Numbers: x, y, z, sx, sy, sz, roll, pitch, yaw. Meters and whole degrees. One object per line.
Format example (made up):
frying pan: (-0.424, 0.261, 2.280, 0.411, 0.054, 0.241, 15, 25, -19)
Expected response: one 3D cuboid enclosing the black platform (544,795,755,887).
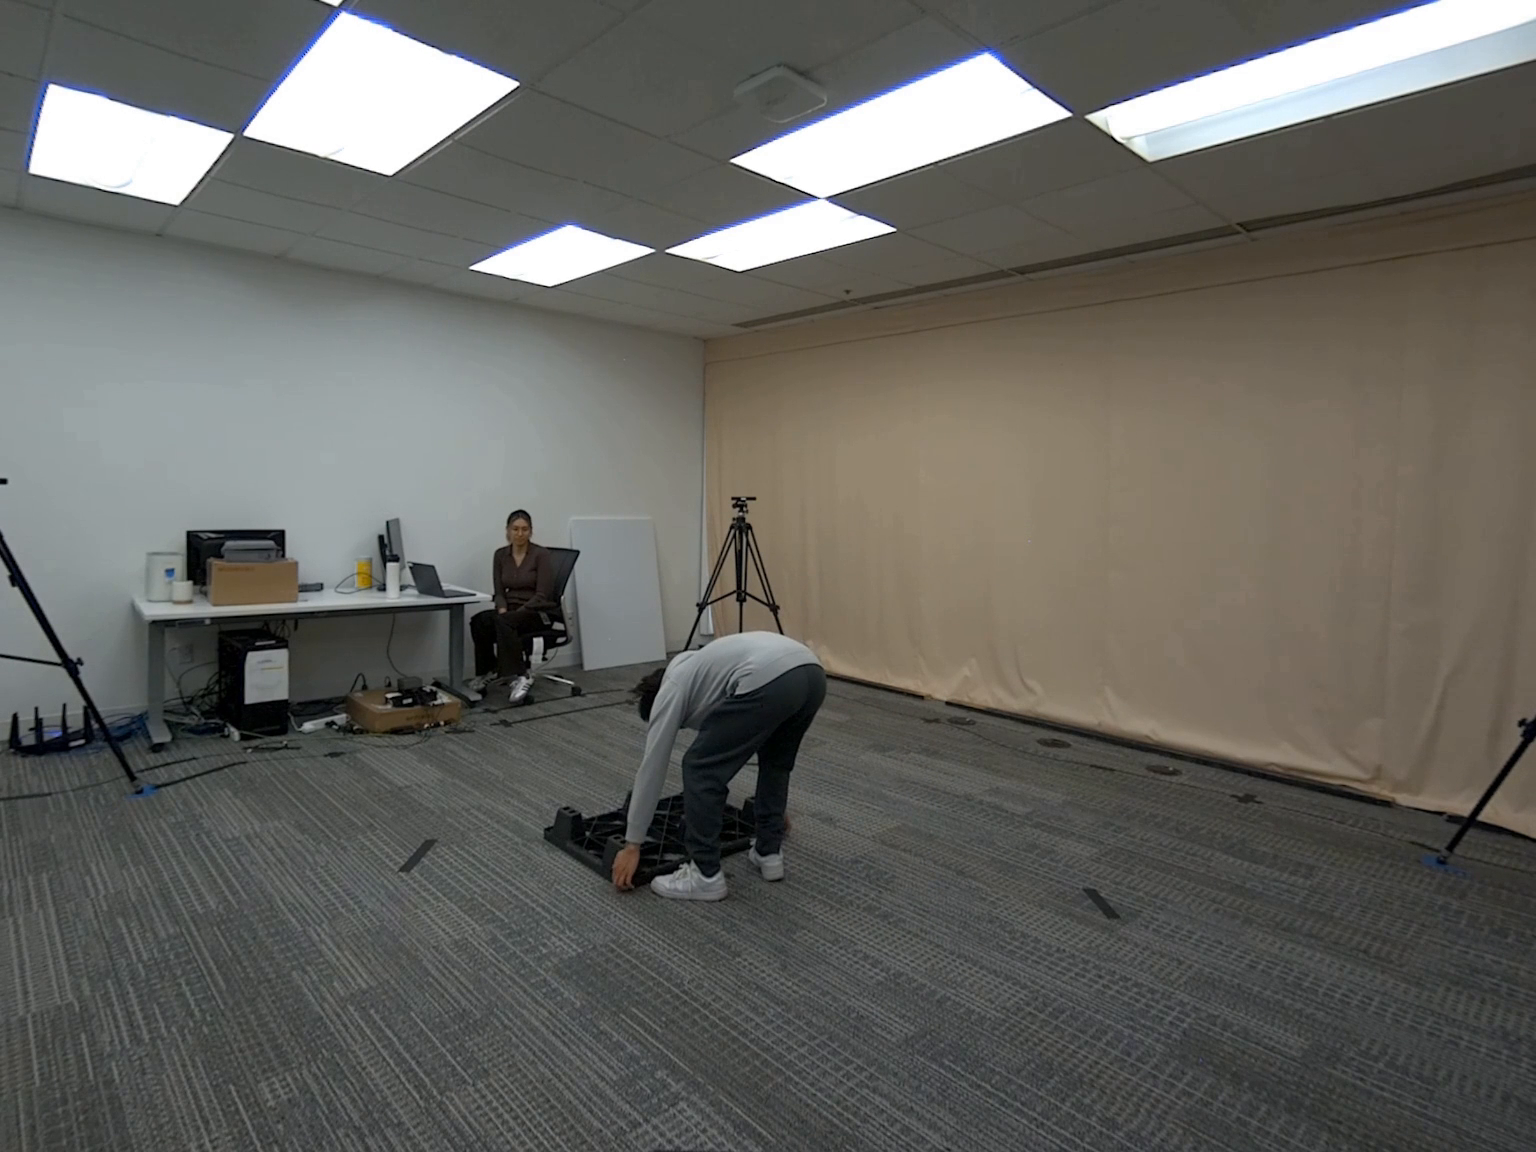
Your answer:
black platform: (-0.430, 1.006, 3.436, 0.787, 0.143, 0.620, -3, 6, -42)
